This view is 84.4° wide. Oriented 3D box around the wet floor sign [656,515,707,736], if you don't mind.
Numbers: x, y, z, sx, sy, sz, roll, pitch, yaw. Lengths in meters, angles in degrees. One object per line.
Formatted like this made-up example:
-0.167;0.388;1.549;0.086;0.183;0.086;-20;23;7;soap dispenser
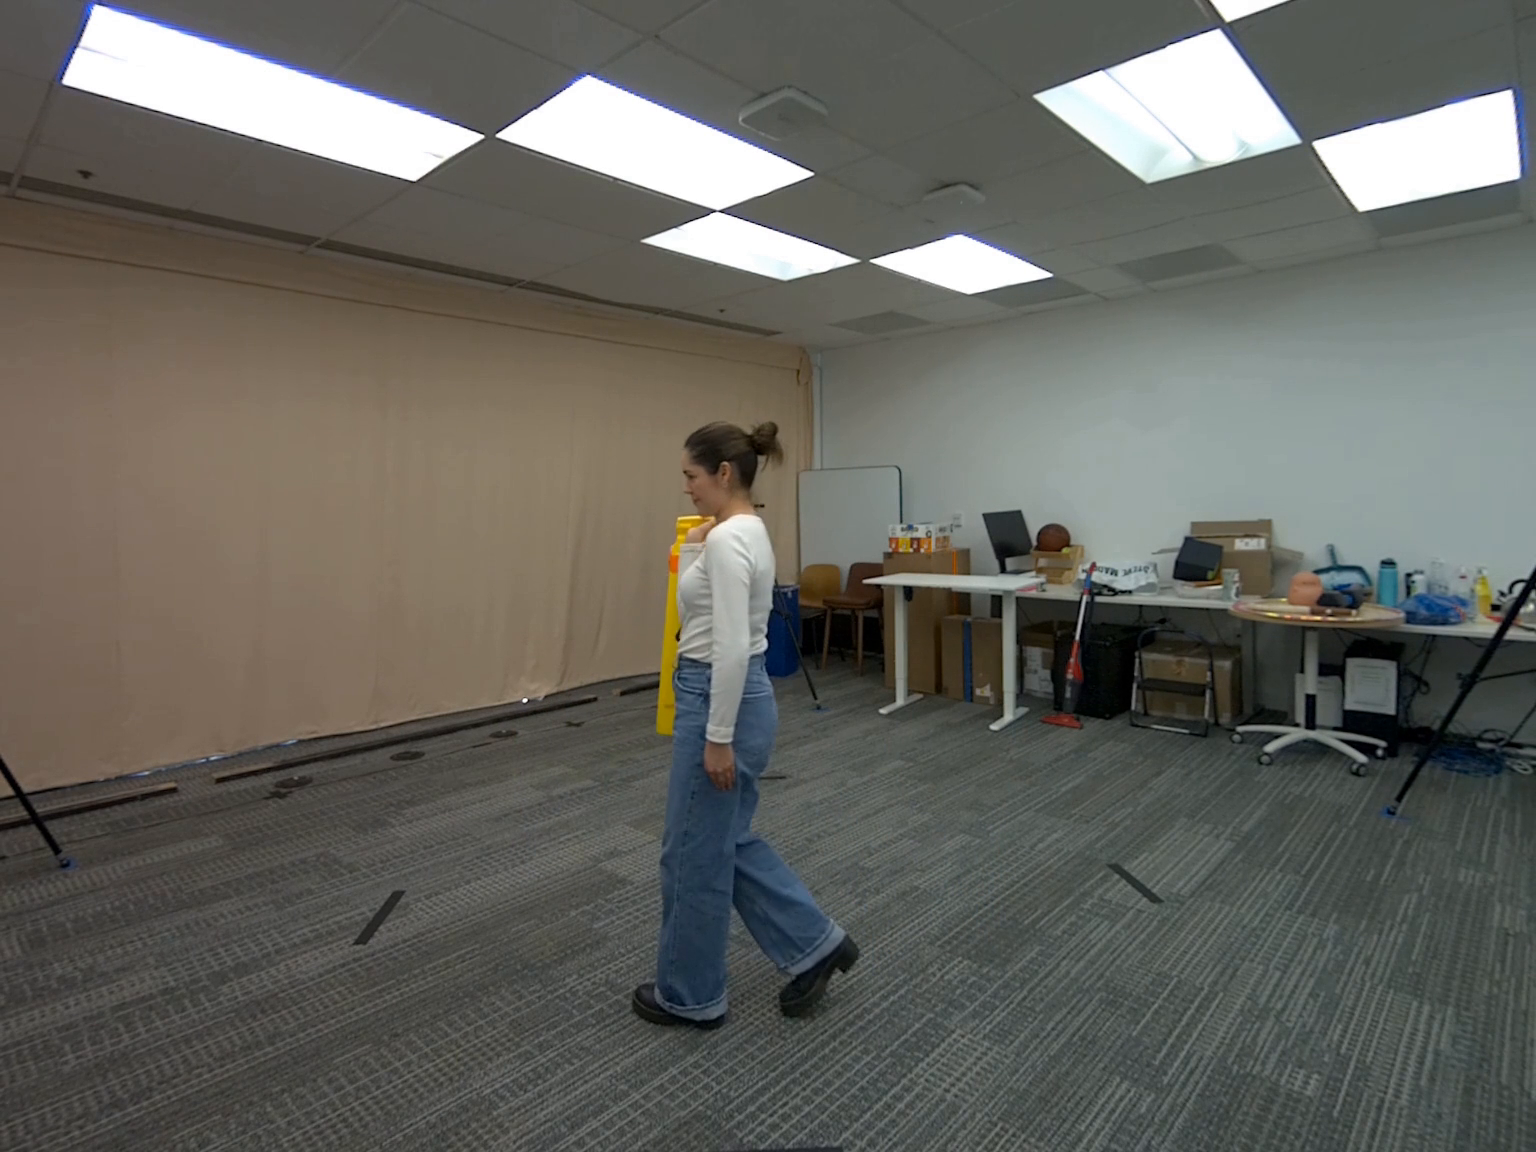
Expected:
-0.170;0.143;2.575;0.286;0.641;0.287;2;12;13;wet floor sign
